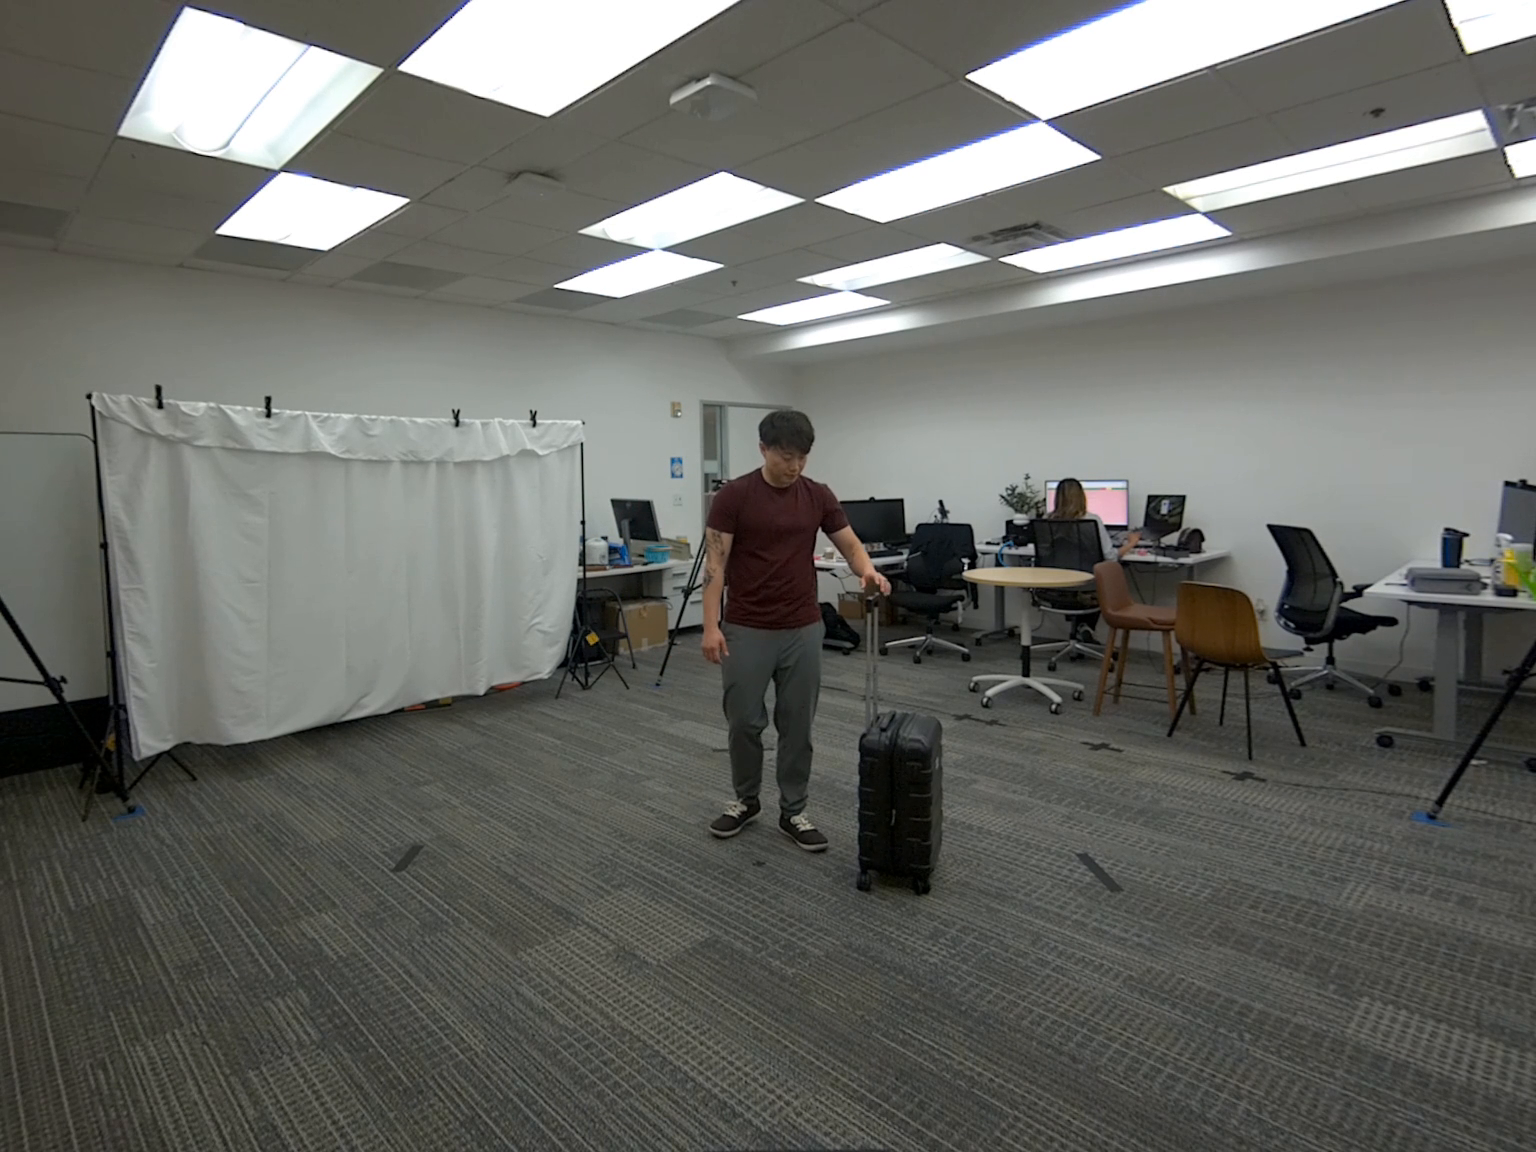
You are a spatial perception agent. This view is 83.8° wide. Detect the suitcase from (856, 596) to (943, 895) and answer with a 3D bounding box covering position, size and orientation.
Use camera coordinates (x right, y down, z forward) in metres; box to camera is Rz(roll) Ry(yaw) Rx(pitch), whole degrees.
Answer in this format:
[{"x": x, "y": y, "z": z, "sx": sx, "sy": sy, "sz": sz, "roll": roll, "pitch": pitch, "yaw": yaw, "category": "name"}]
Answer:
[{"x": 0.476, "y": 0.574, "z": 2.992, "sx": 0.261, "sy": 0.975, "sz": 0.379, "roll": 2, "pitch": 5, "yaw": 17, "category": "suitcase"}]
